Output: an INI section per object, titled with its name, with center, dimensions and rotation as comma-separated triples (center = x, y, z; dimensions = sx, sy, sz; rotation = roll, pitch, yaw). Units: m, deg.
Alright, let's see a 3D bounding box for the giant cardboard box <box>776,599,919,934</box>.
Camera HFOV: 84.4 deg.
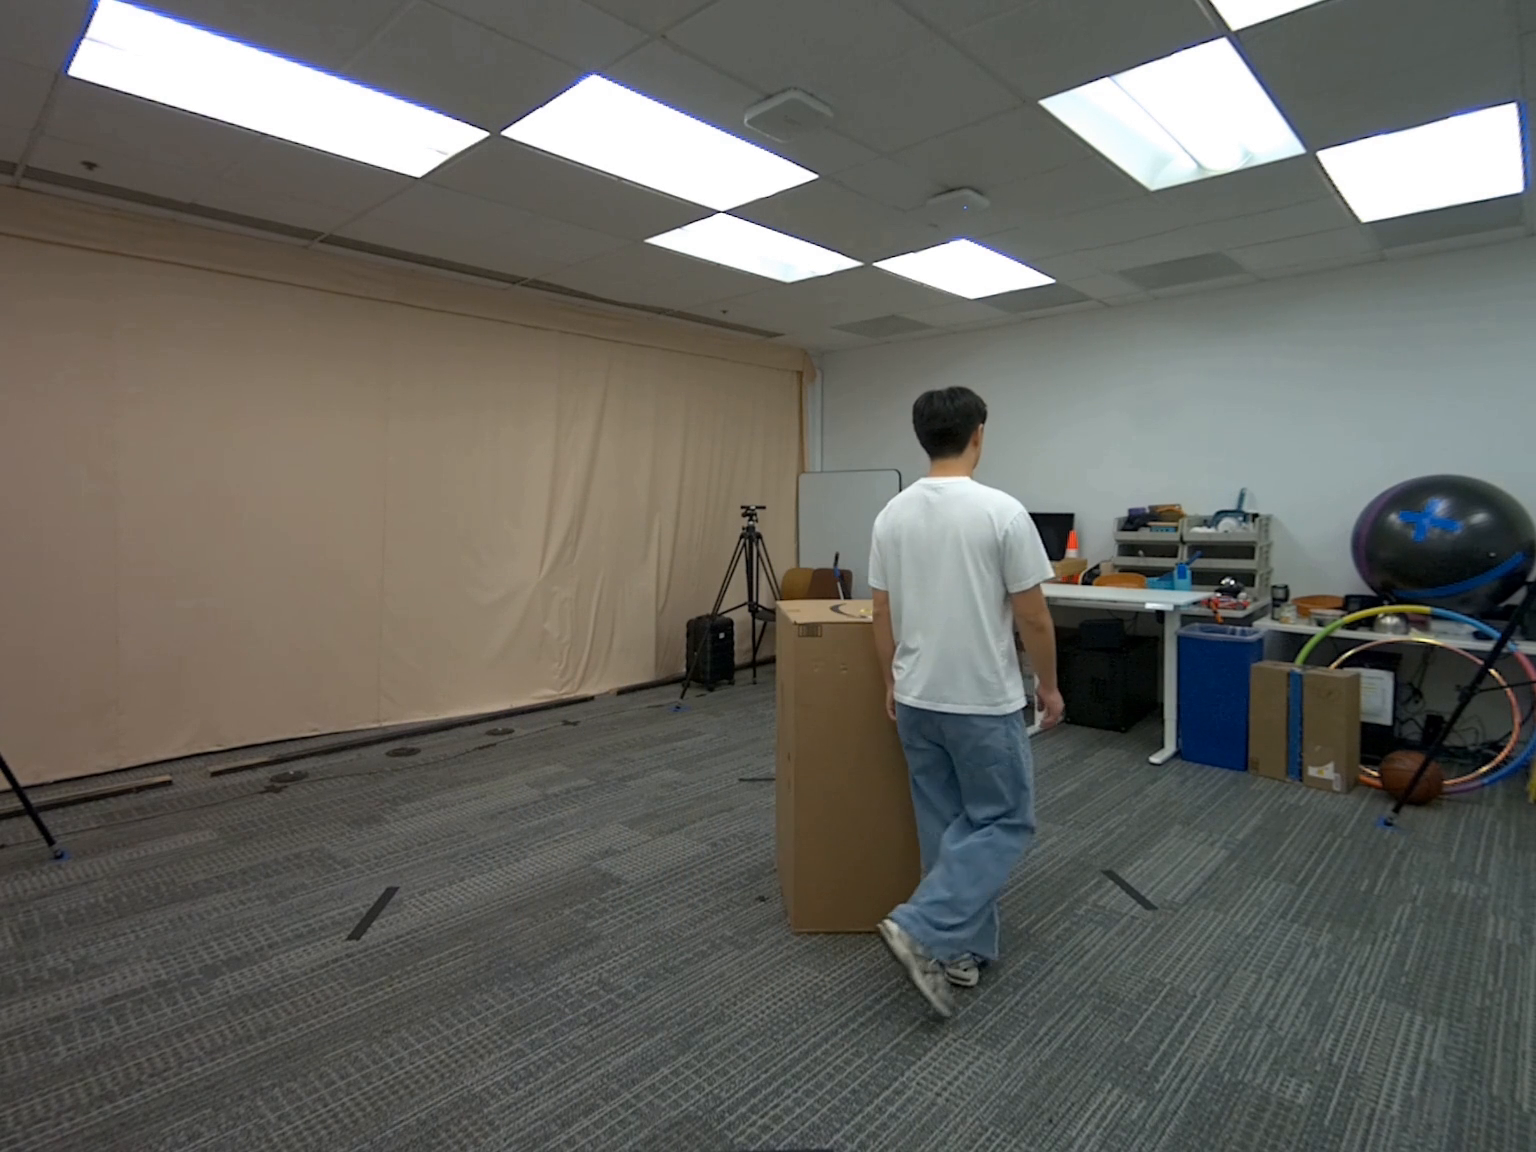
[giant cardboard box]
center = 0.264, 0.632, 2.997
dimensions = 0.425, 1.024, 0.581
rotation = 0, 3, -4
